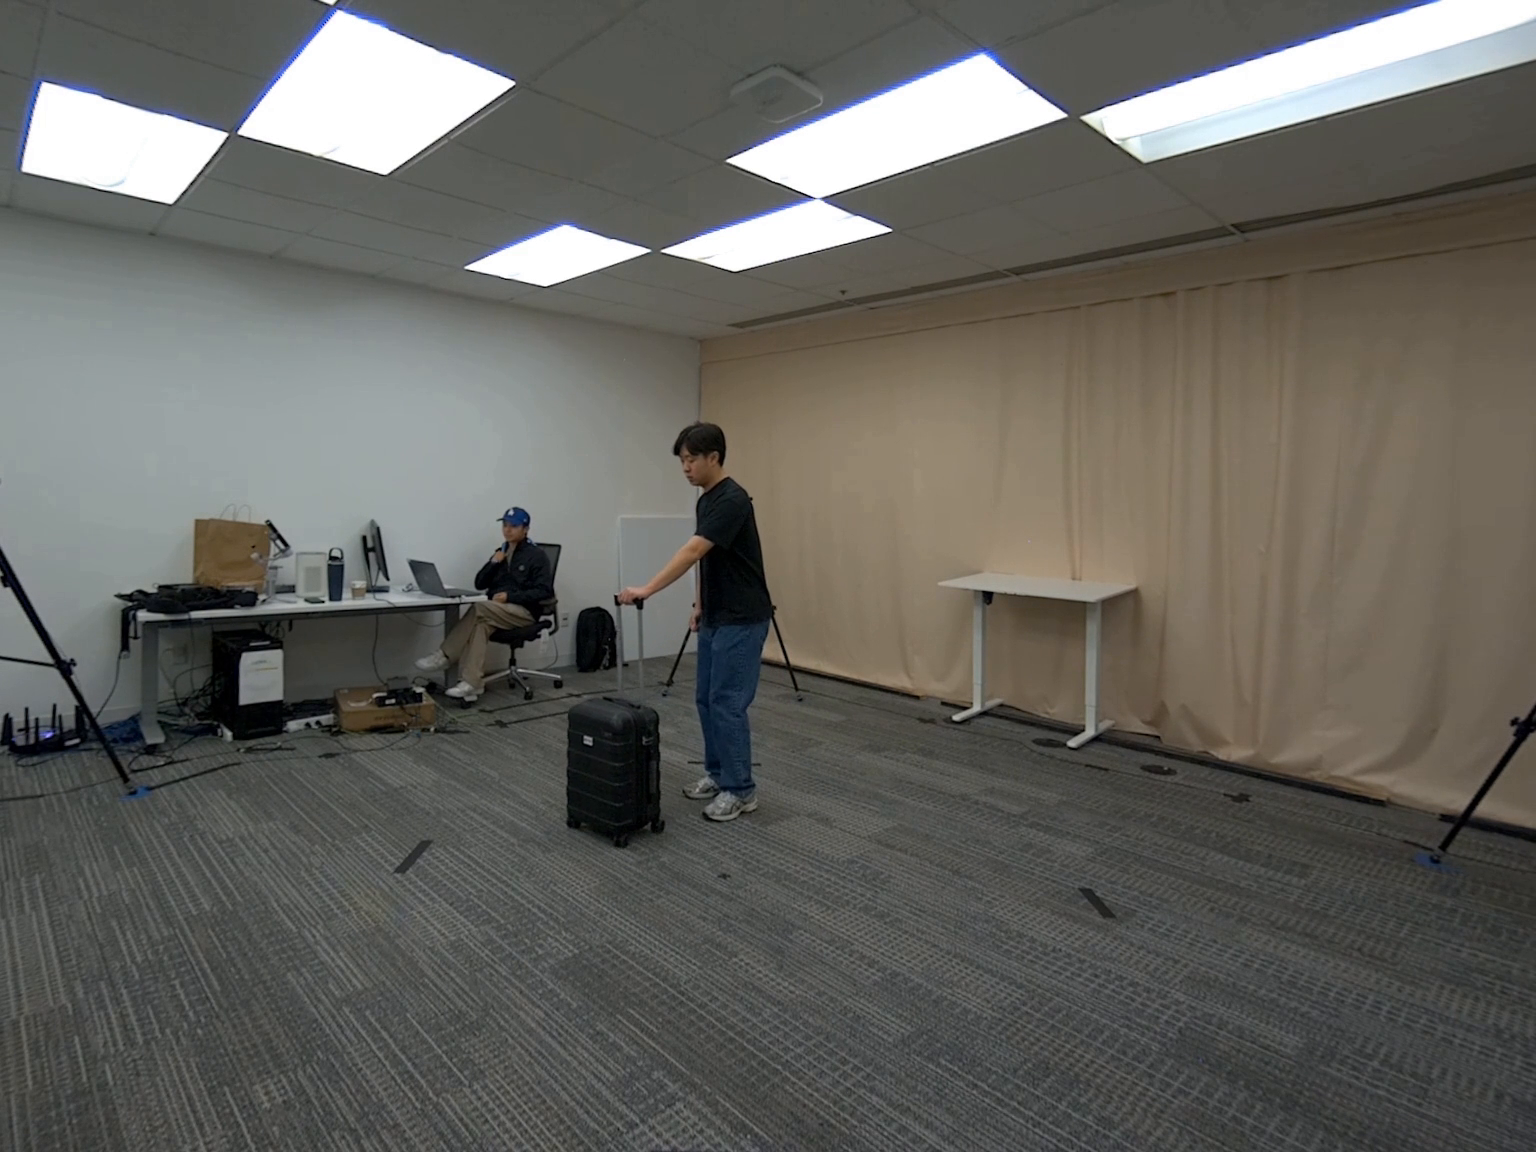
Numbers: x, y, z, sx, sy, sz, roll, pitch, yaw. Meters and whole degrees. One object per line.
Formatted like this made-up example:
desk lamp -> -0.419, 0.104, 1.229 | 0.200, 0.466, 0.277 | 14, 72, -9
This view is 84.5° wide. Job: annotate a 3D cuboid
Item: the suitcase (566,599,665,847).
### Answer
suitcase -> -0.651, 0.590, 3.451 | 0.394, 0.973, 0.252 | 5, 10, 39
